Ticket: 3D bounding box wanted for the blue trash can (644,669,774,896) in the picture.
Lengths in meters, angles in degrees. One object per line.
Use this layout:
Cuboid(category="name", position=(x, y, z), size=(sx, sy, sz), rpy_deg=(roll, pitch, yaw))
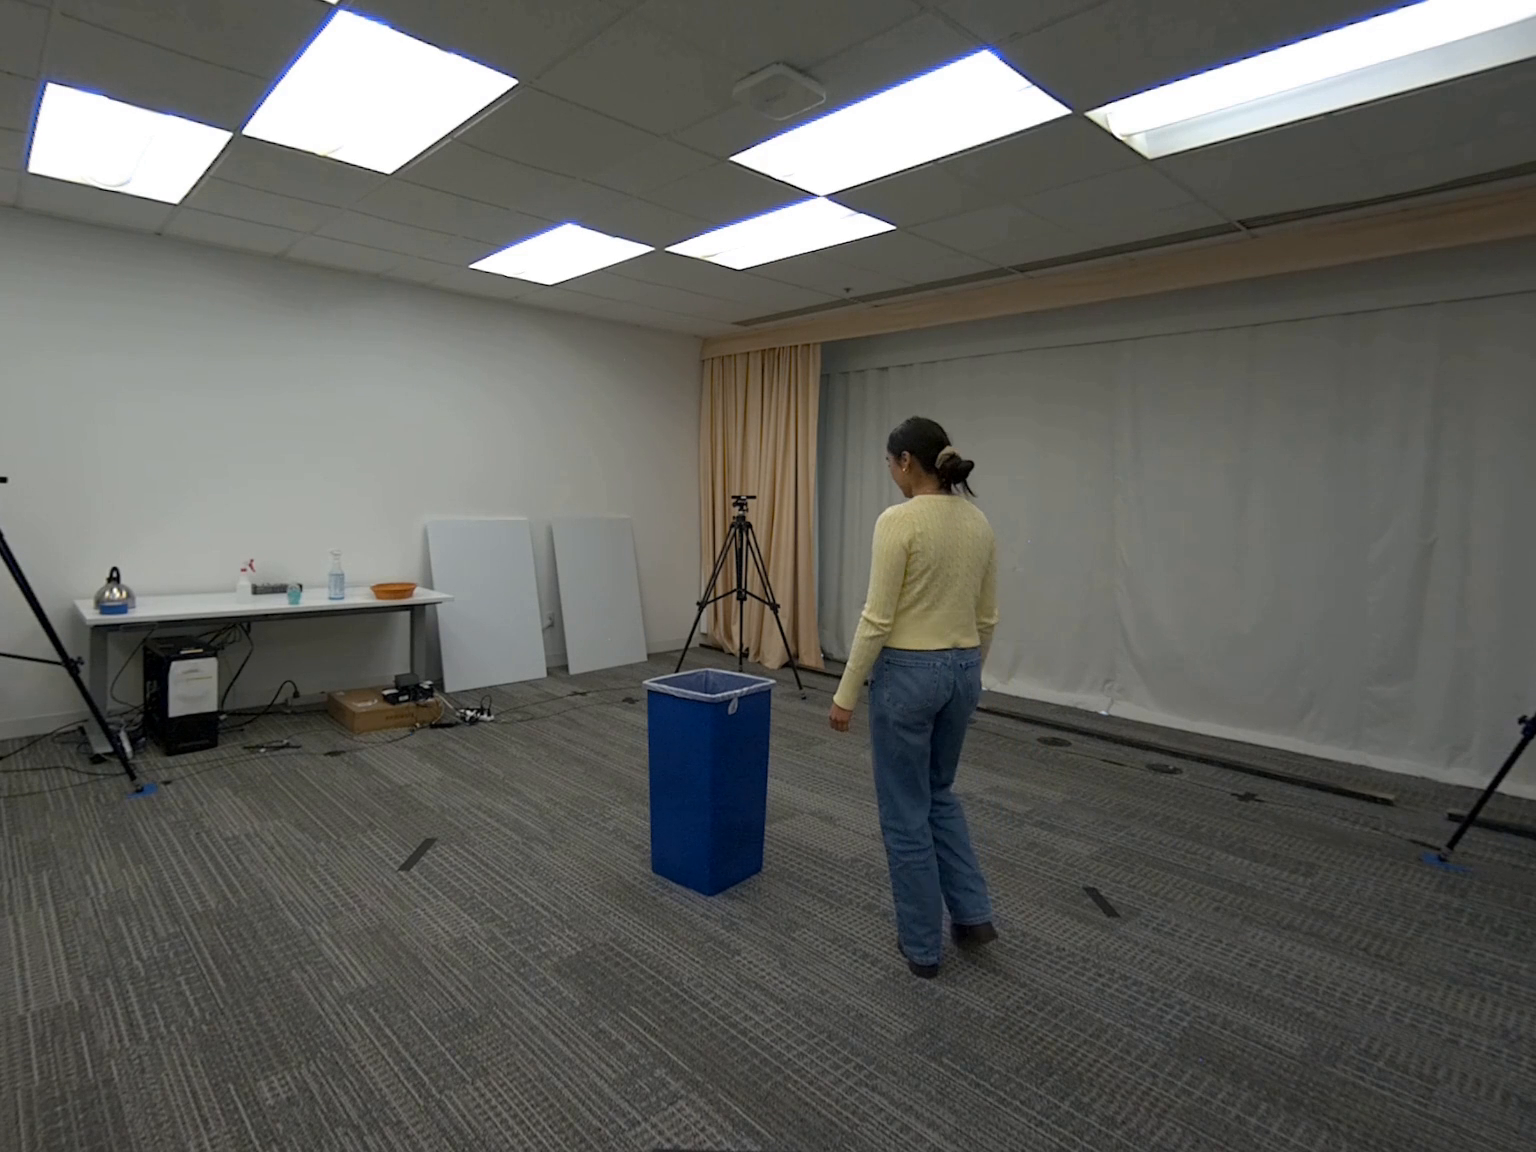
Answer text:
Cuboid(category="blue trash can", position=(-0.233, 0.742, 3.112), size=(0.383, 0.712, 0.370), rpy_deg=(4, 5, 39))
